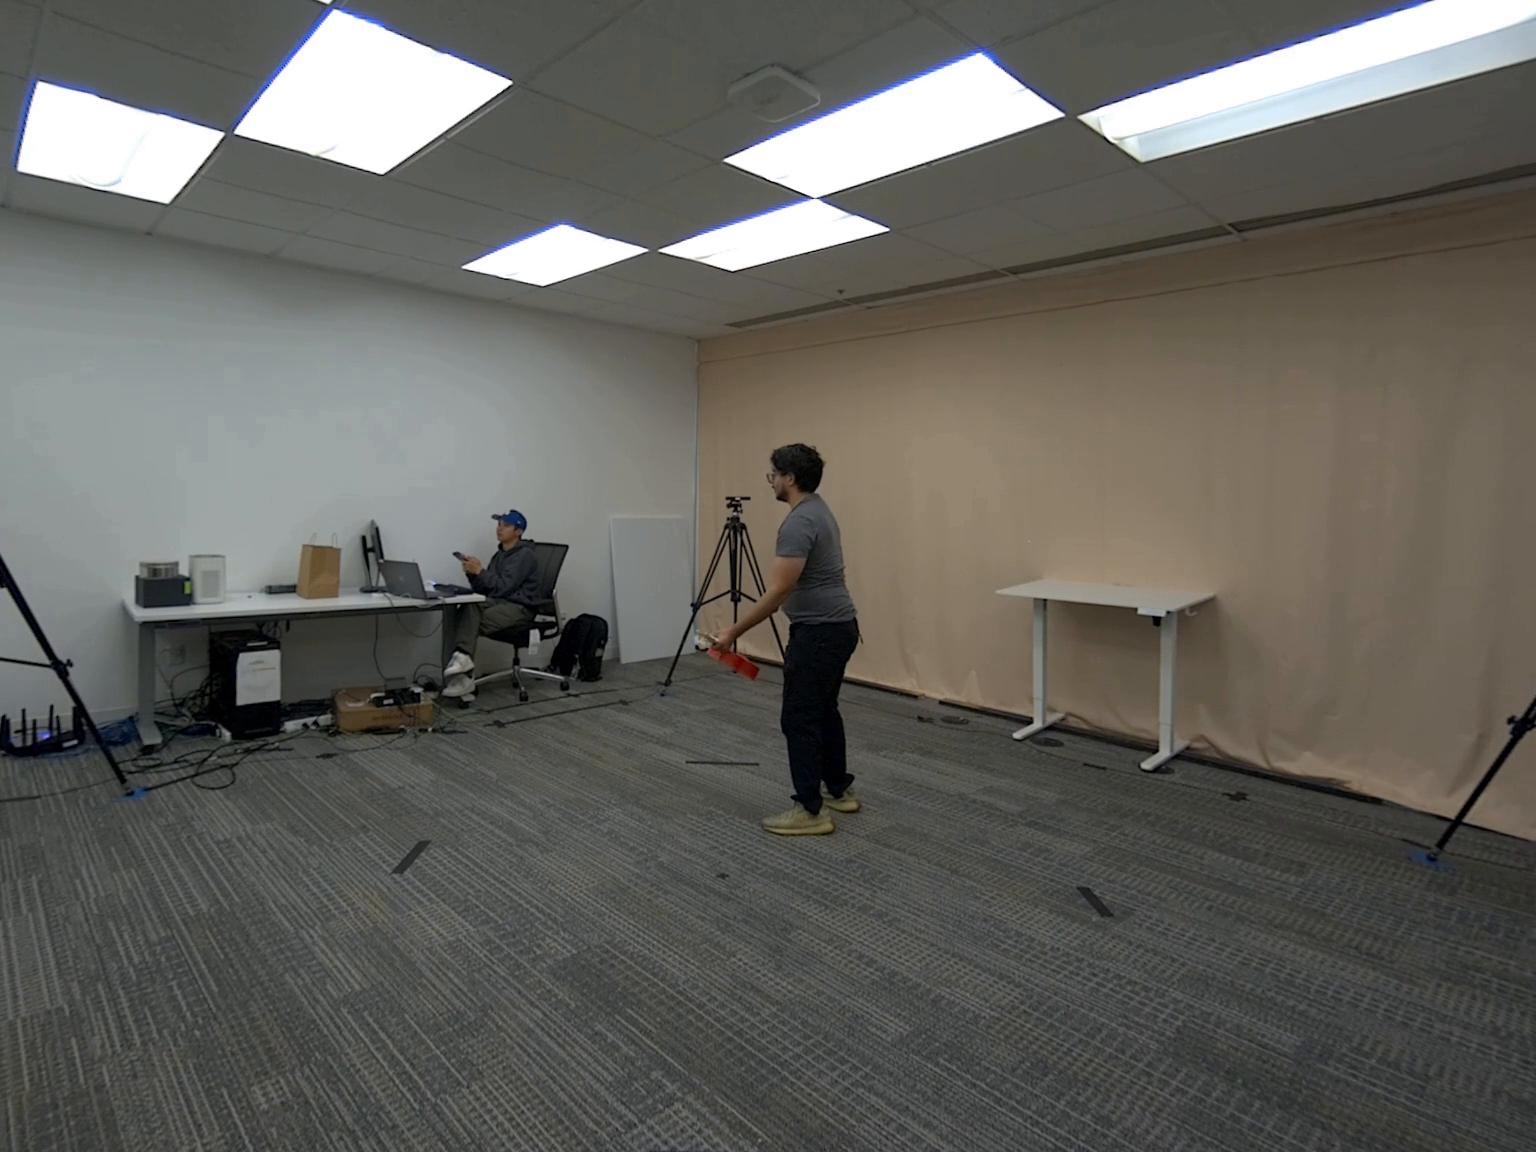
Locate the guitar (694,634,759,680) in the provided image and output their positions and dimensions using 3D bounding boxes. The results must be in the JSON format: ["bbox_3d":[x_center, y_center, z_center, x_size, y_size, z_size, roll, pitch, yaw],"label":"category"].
[{"bbox_3d":[-0.211,0.312,3.470,0.199,0.071,0.482,25,-7,36],"label":"guitar"}]
